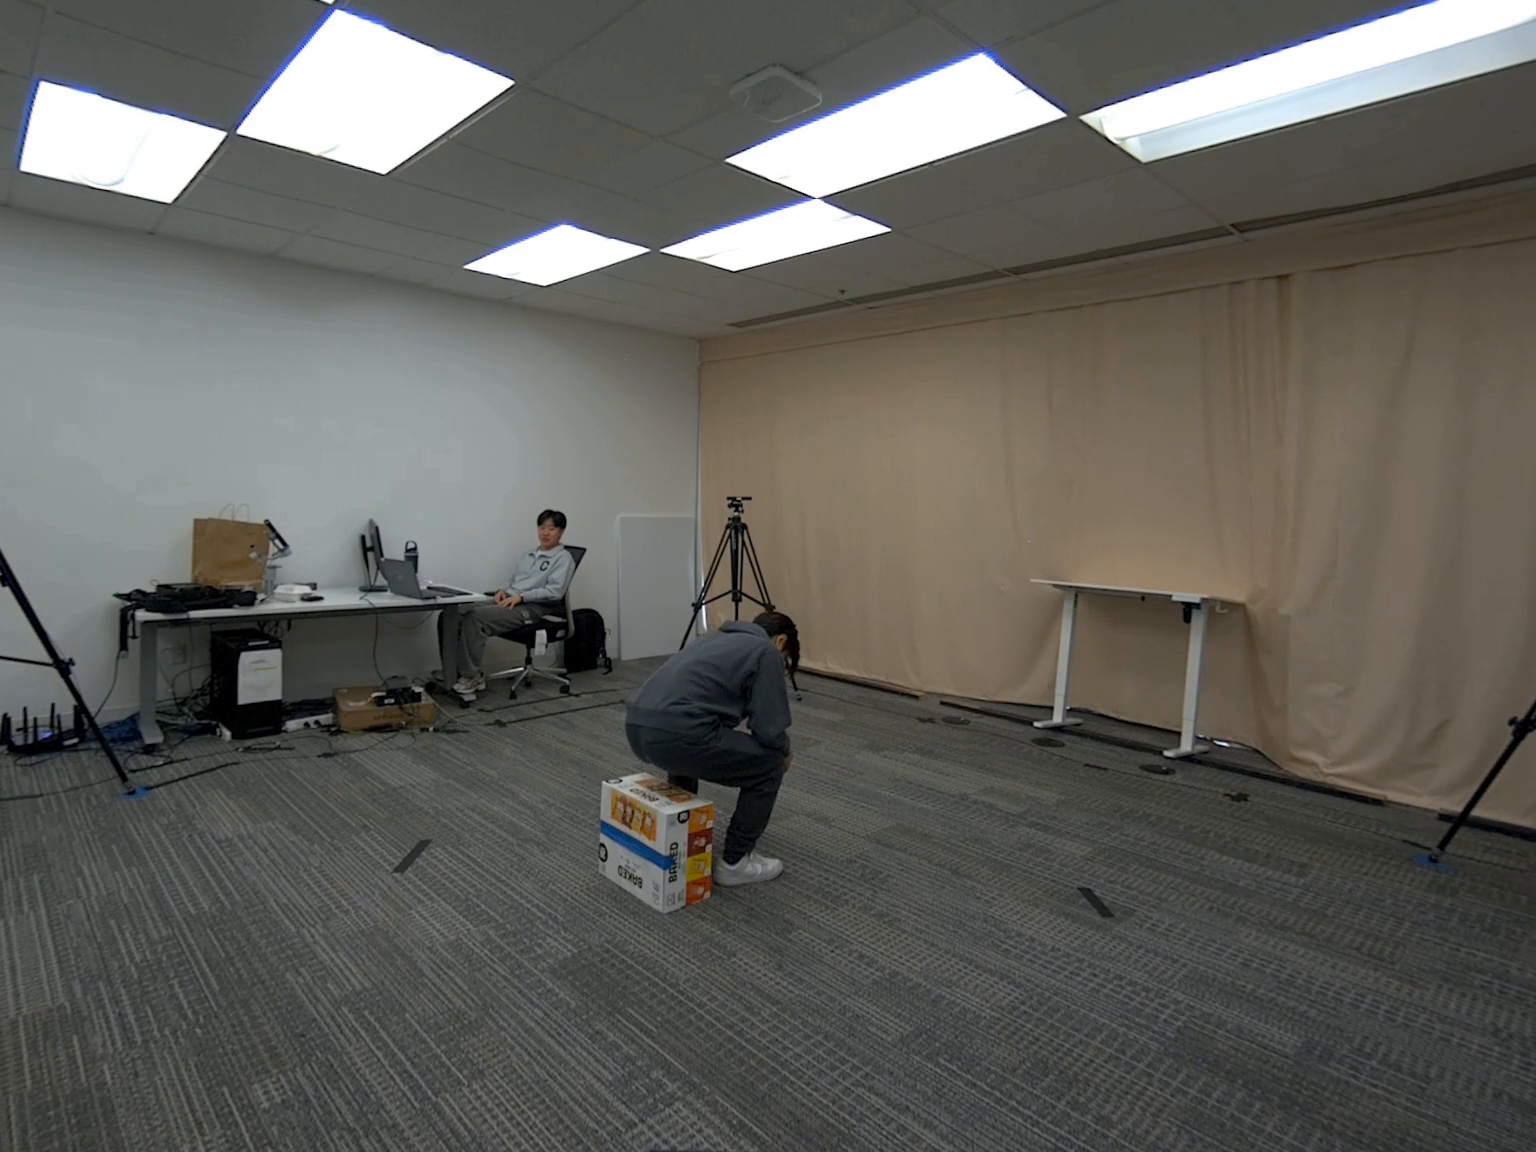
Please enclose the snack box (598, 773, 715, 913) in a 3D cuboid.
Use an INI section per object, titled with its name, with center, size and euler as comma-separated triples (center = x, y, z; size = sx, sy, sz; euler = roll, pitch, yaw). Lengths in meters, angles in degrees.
[snack box]
center = -0.414, 0.940, 3.007
size = 0.201, 0.340, 0.415
euler = 0, 4, -43
